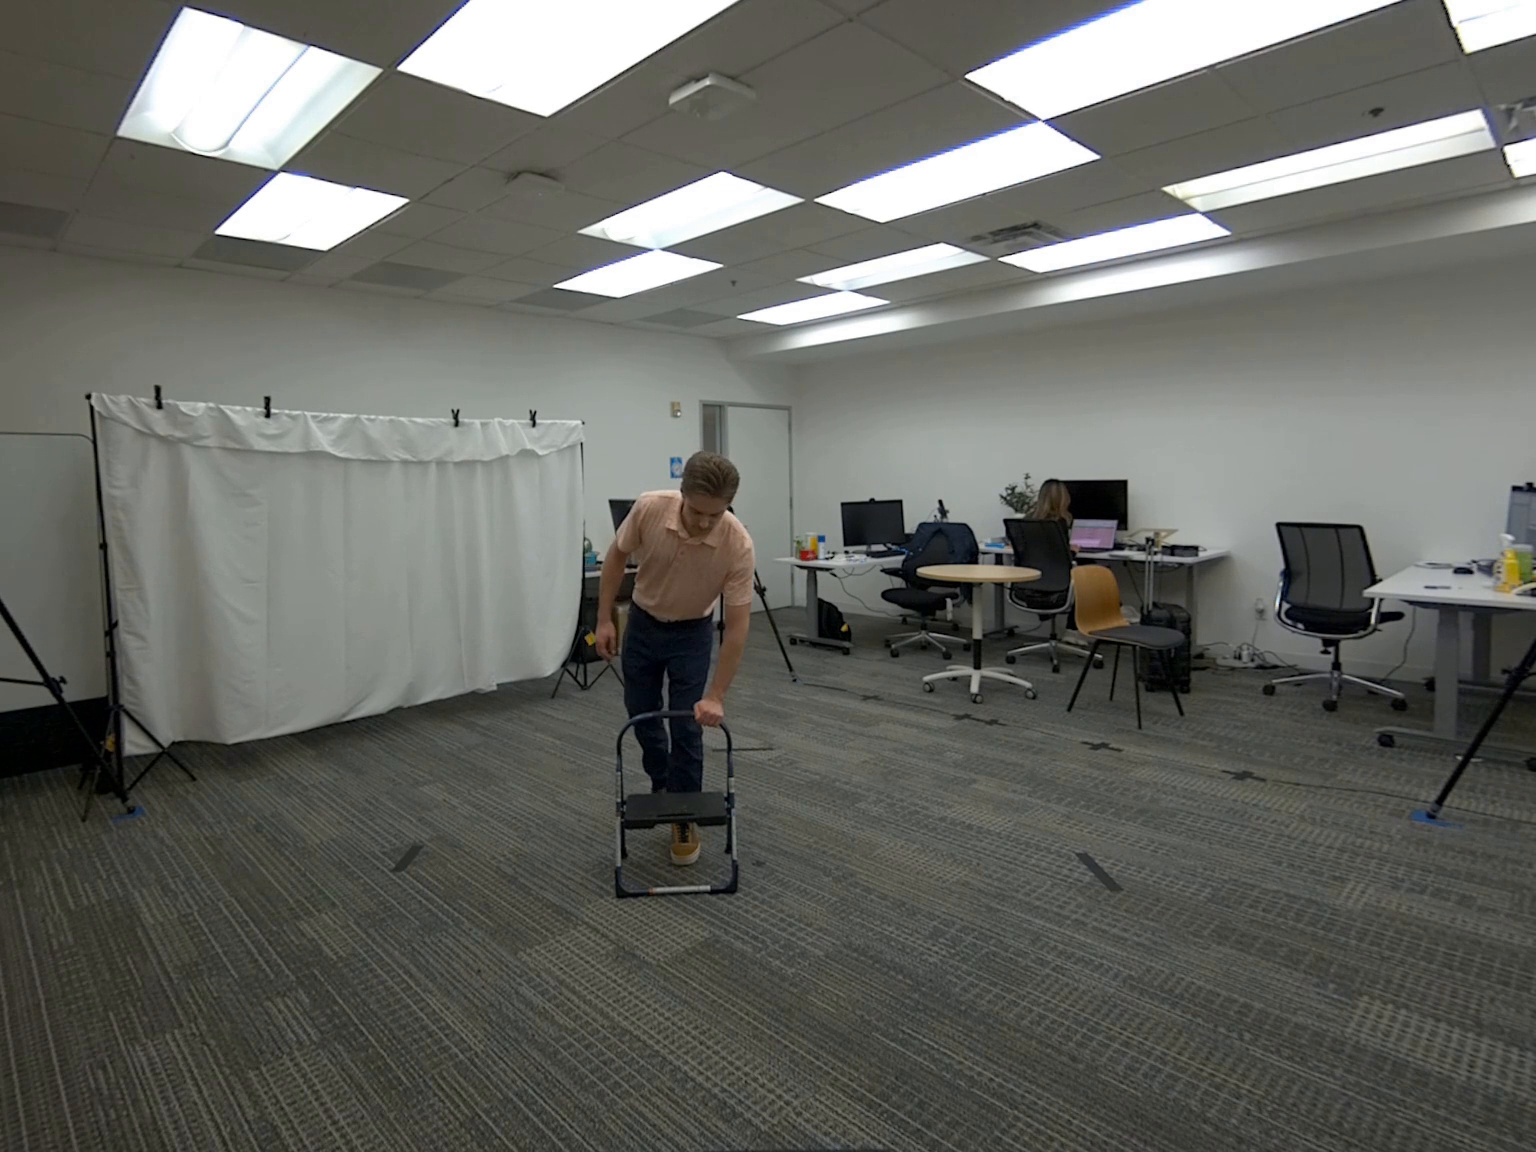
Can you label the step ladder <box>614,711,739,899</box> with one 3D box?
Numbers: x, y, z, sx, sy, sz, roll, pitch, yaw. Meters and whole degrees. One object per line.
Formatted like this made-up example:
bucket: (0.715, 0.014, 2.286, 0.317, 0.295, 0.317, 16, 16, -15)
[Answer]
step ladder: (-0.329, 0.763, 3.026, 0.428, 0.604, 0.352, -2, 4, -6)
